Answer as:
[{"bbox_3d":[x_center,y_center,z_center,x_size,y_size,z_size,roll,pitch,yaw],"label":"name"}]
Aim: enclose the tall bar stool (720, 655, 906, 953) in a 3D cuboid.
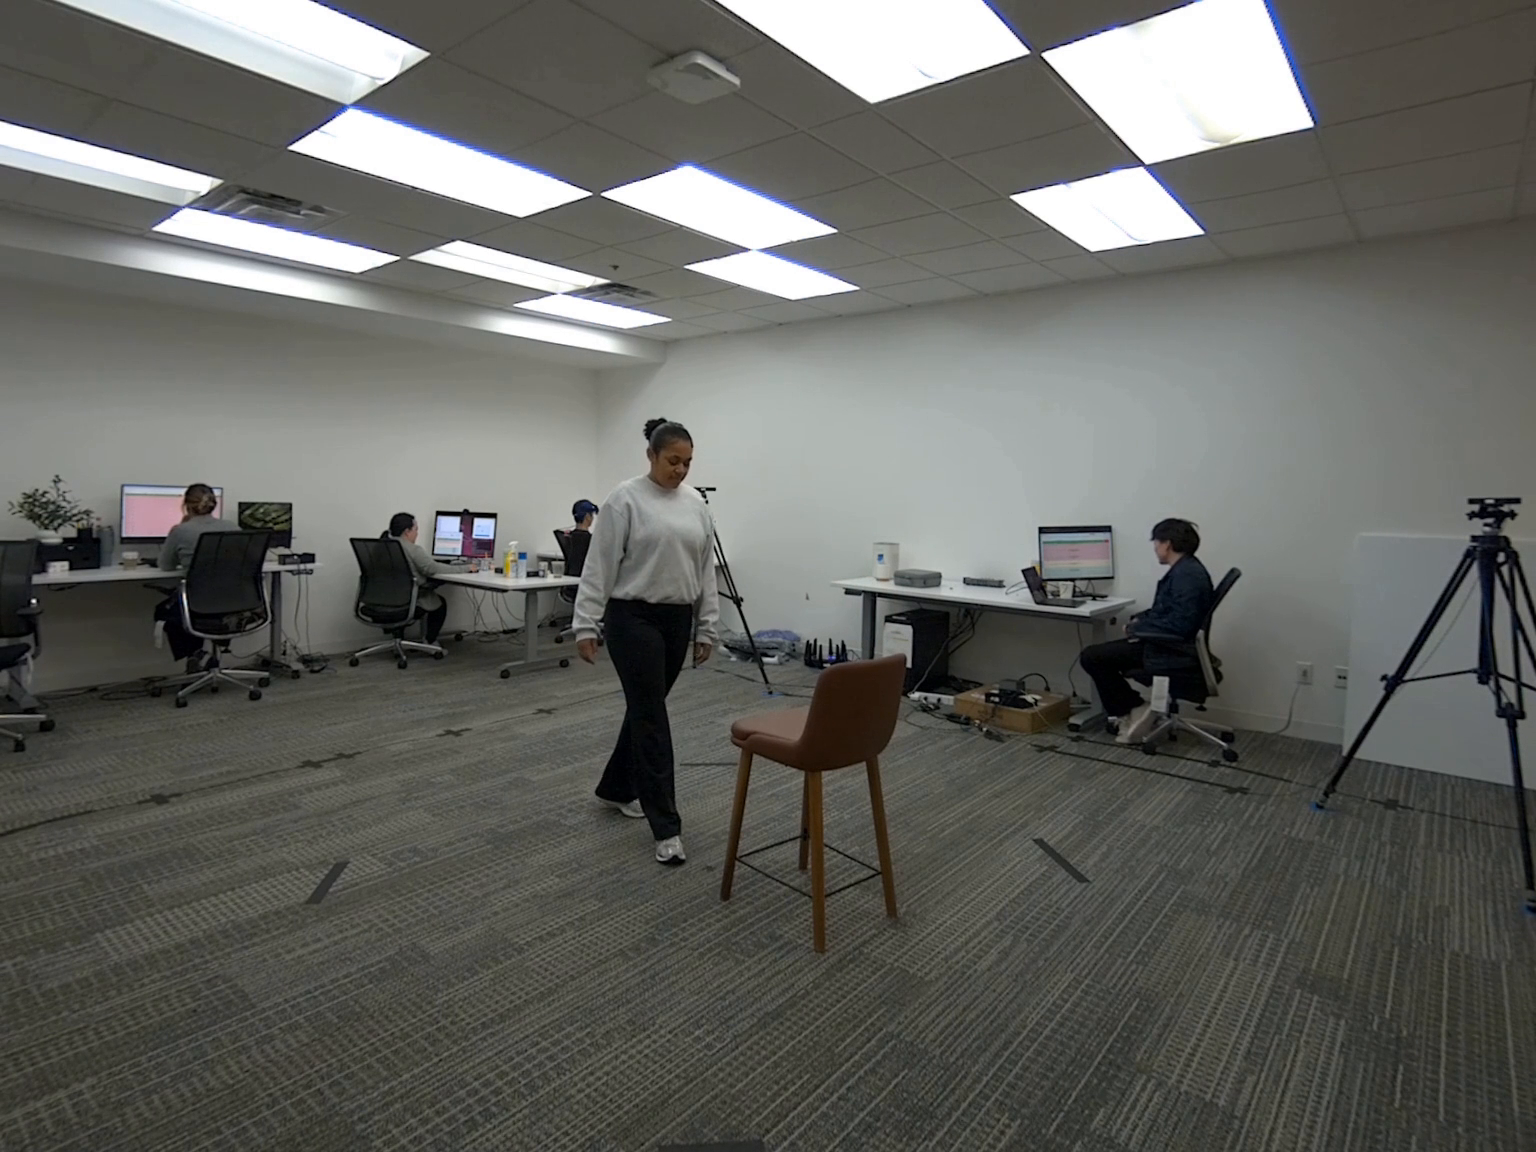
[{"bbox_3d":[0.149,0.668,2.814,0.442,0.886,0.484,-1,6,-42],"label":"tall bar stool"}]
